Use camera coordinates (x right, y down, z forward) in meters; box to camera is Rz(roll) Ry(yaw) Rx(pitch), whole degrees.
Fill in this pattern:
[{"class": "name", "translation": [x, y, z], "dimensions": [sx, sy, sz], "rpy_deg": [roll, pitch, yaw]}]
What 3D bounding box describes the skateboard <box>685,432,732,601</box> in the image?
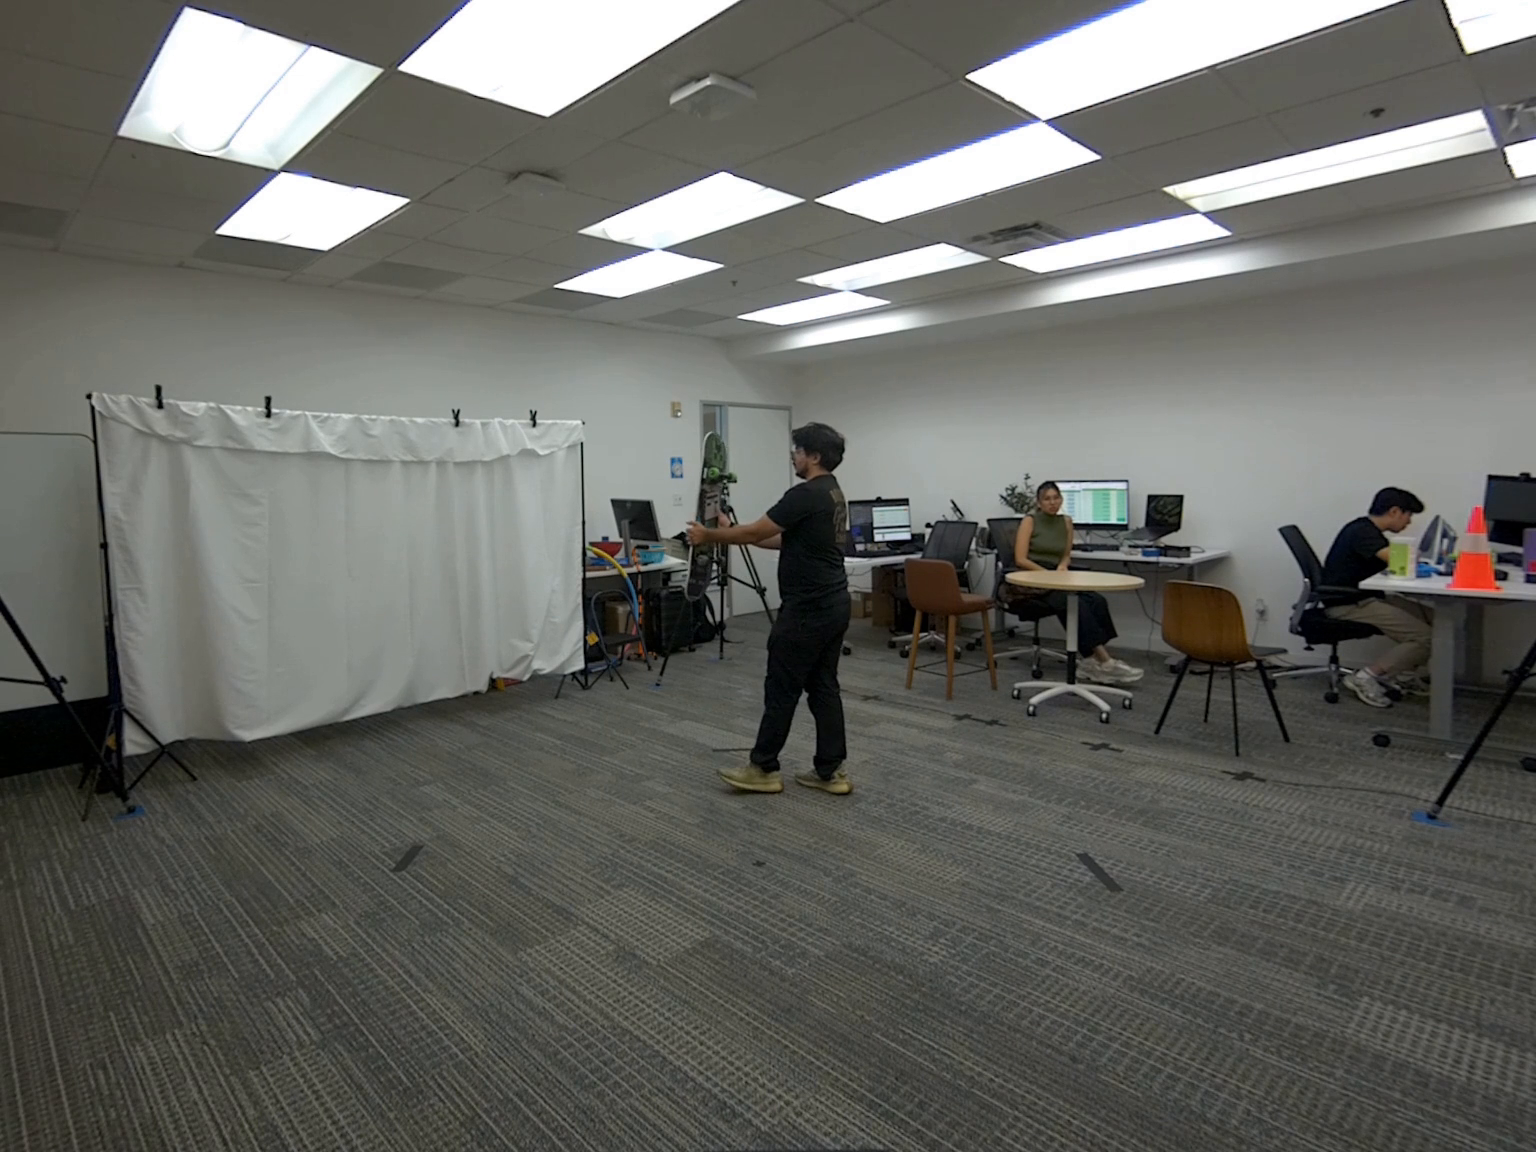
[{"class": "skateboard", "translation": [-0.262, -0.266, 3.938], "dimensions": [0.114, 0.784, 0.188], "rpy_deg": [9, 2, 32]}]
